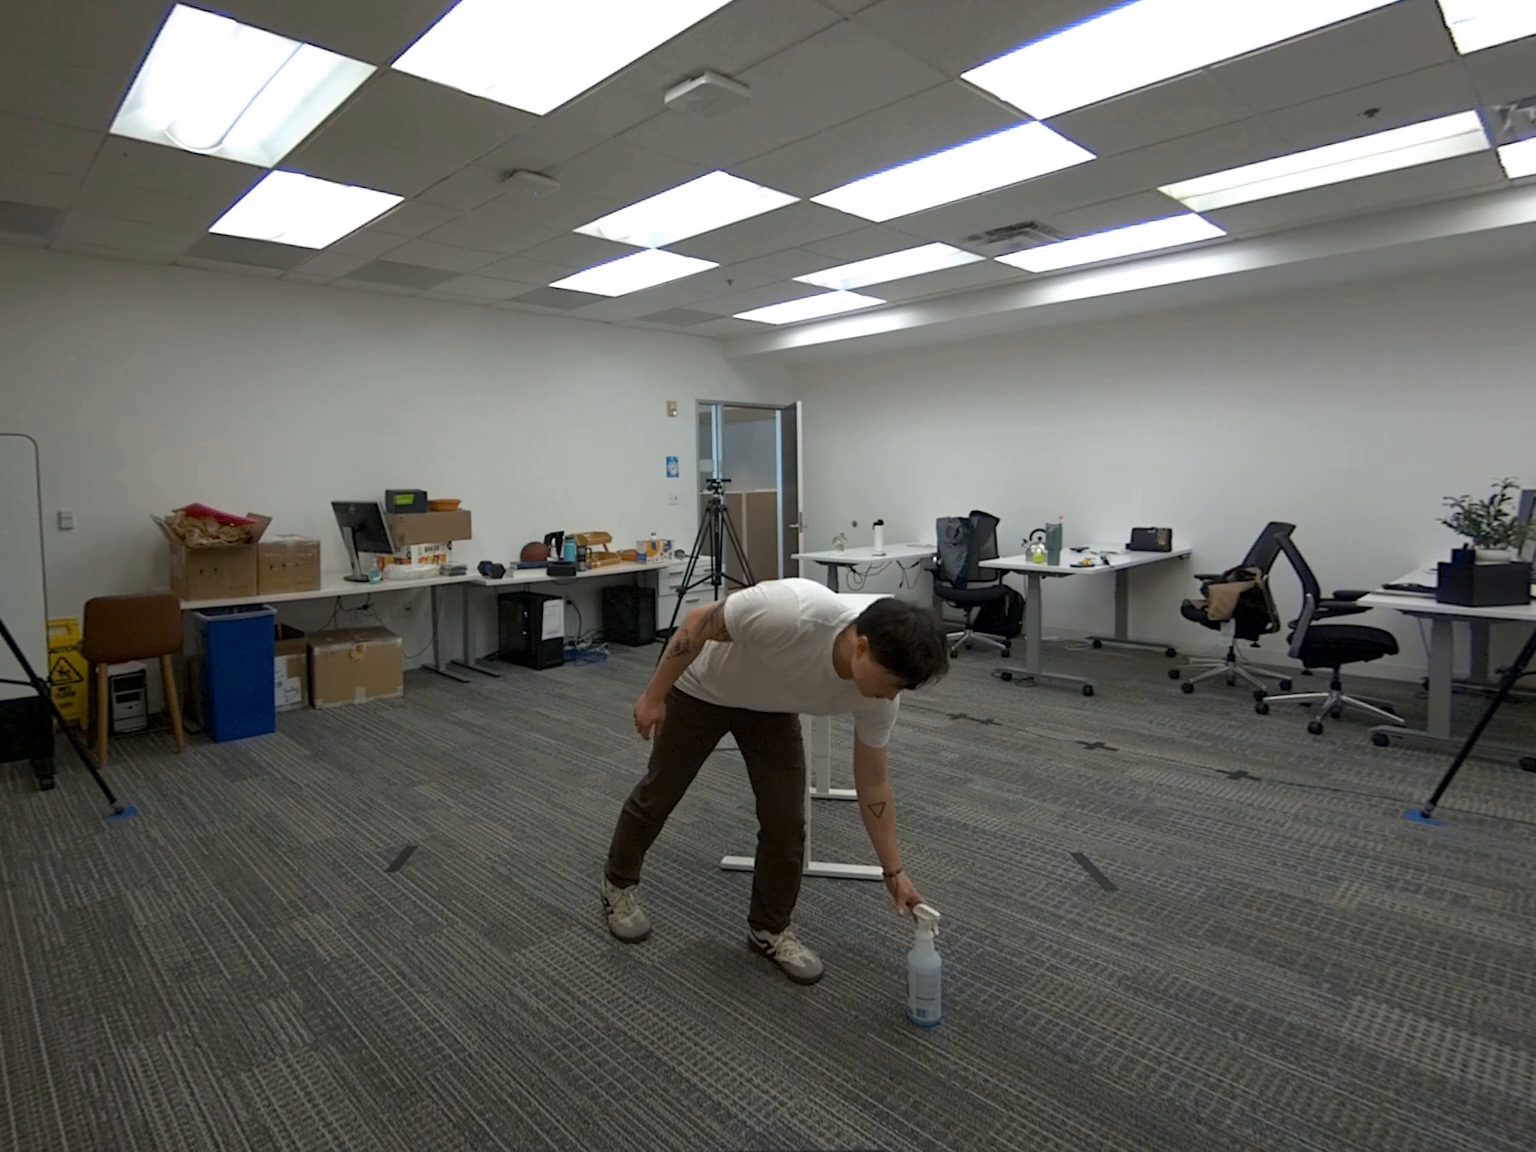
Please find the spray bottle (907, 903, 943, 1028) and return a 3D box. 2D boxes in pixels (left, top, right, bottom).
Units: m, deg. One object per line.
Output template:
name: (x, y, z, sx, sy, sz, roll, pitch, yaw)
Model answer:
spray bottle: (0.404, 0.991, 2.203, 0.086, 0.296, 0.091, 0, 4, -5)
